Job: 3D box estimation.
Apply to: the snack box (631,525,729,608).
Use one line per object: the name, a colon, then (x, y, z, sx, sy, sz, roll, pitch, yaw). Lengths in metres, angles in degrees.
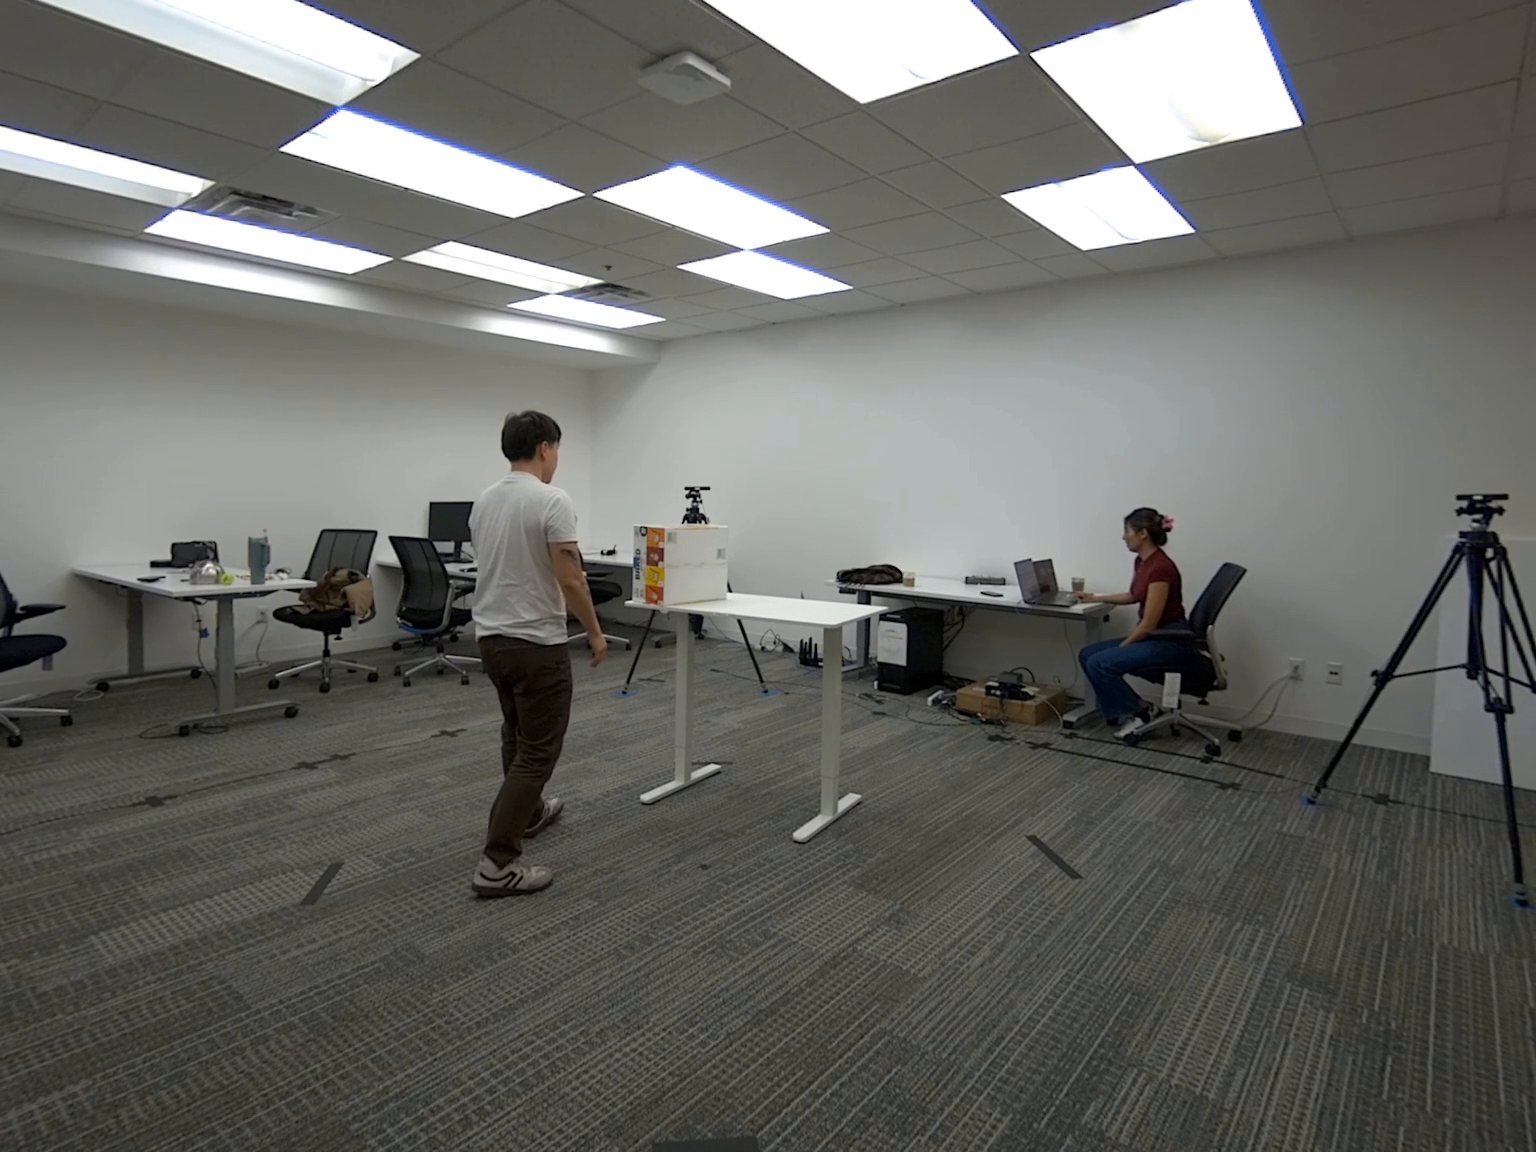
snack box: (-0.402, -0.061, 3.832, 0.213, 0.339, 0.393, 6, 7, 43)
